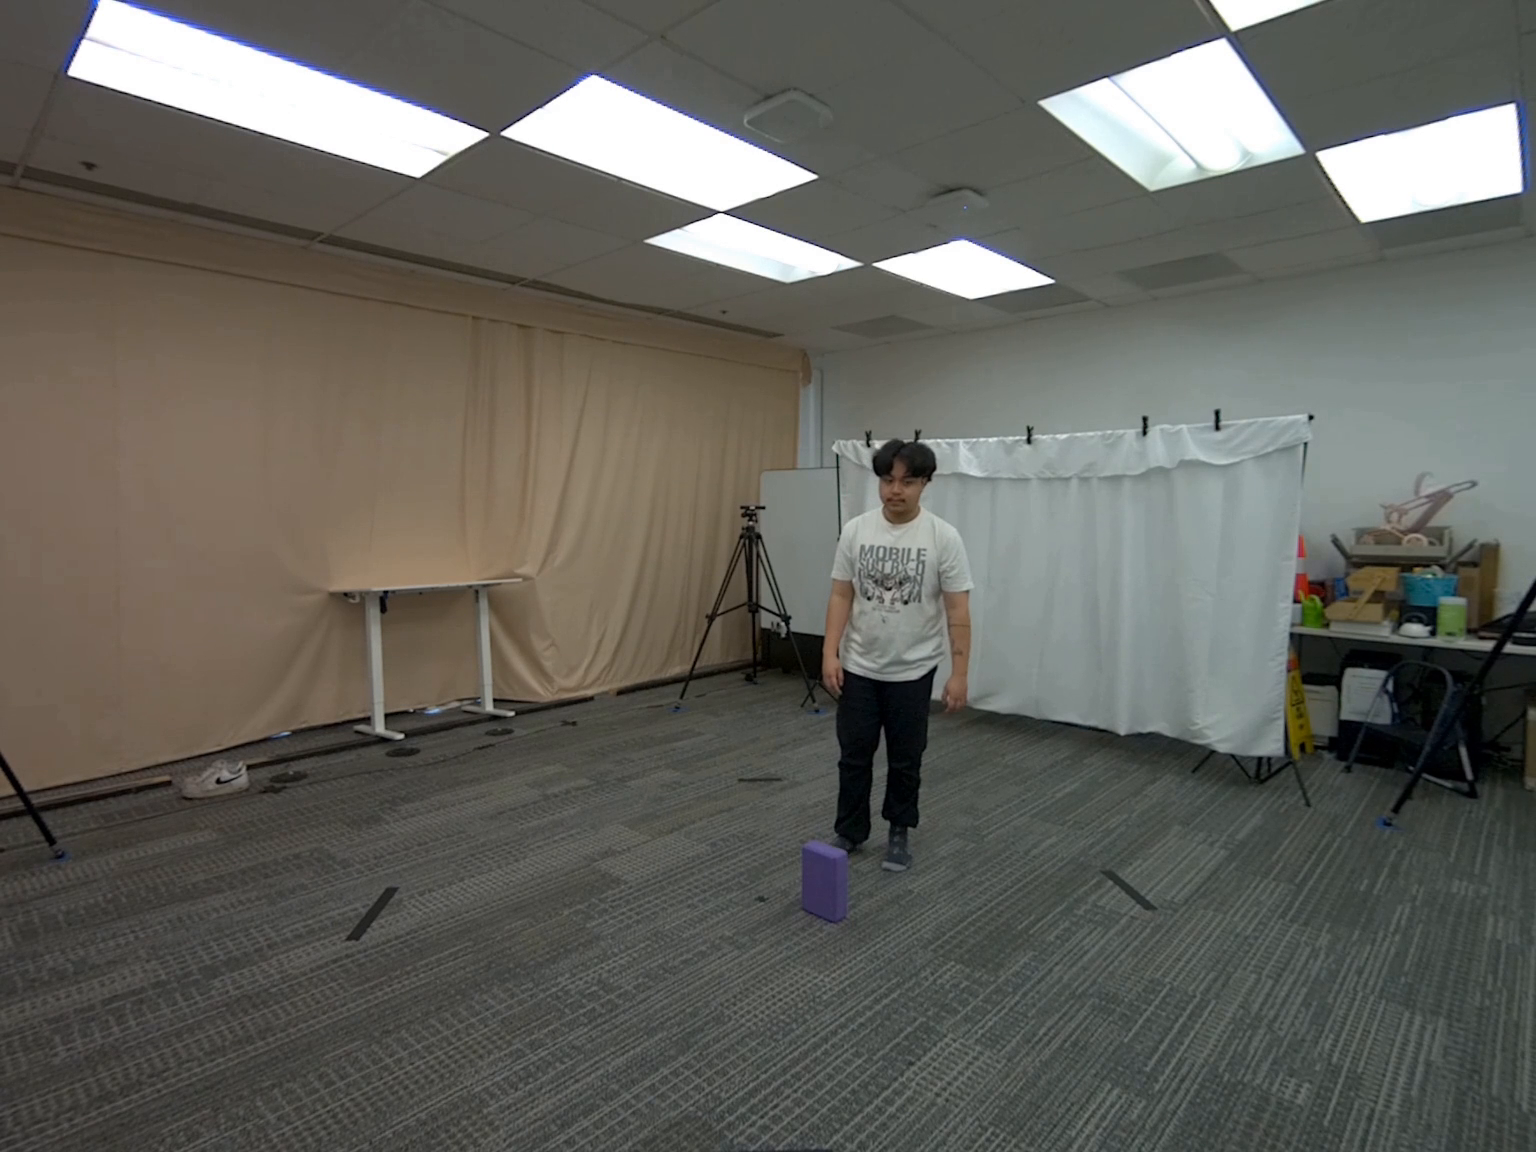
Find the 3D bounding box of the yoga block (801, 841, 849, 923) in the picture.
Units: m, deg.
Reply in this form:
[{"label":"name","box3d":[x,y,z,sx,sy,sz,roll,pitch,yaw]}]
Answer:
[{"label":"yoga block","box3d":[0.198,1.038,2.867,0.154,0.229,0.074,5,5,43]}]
